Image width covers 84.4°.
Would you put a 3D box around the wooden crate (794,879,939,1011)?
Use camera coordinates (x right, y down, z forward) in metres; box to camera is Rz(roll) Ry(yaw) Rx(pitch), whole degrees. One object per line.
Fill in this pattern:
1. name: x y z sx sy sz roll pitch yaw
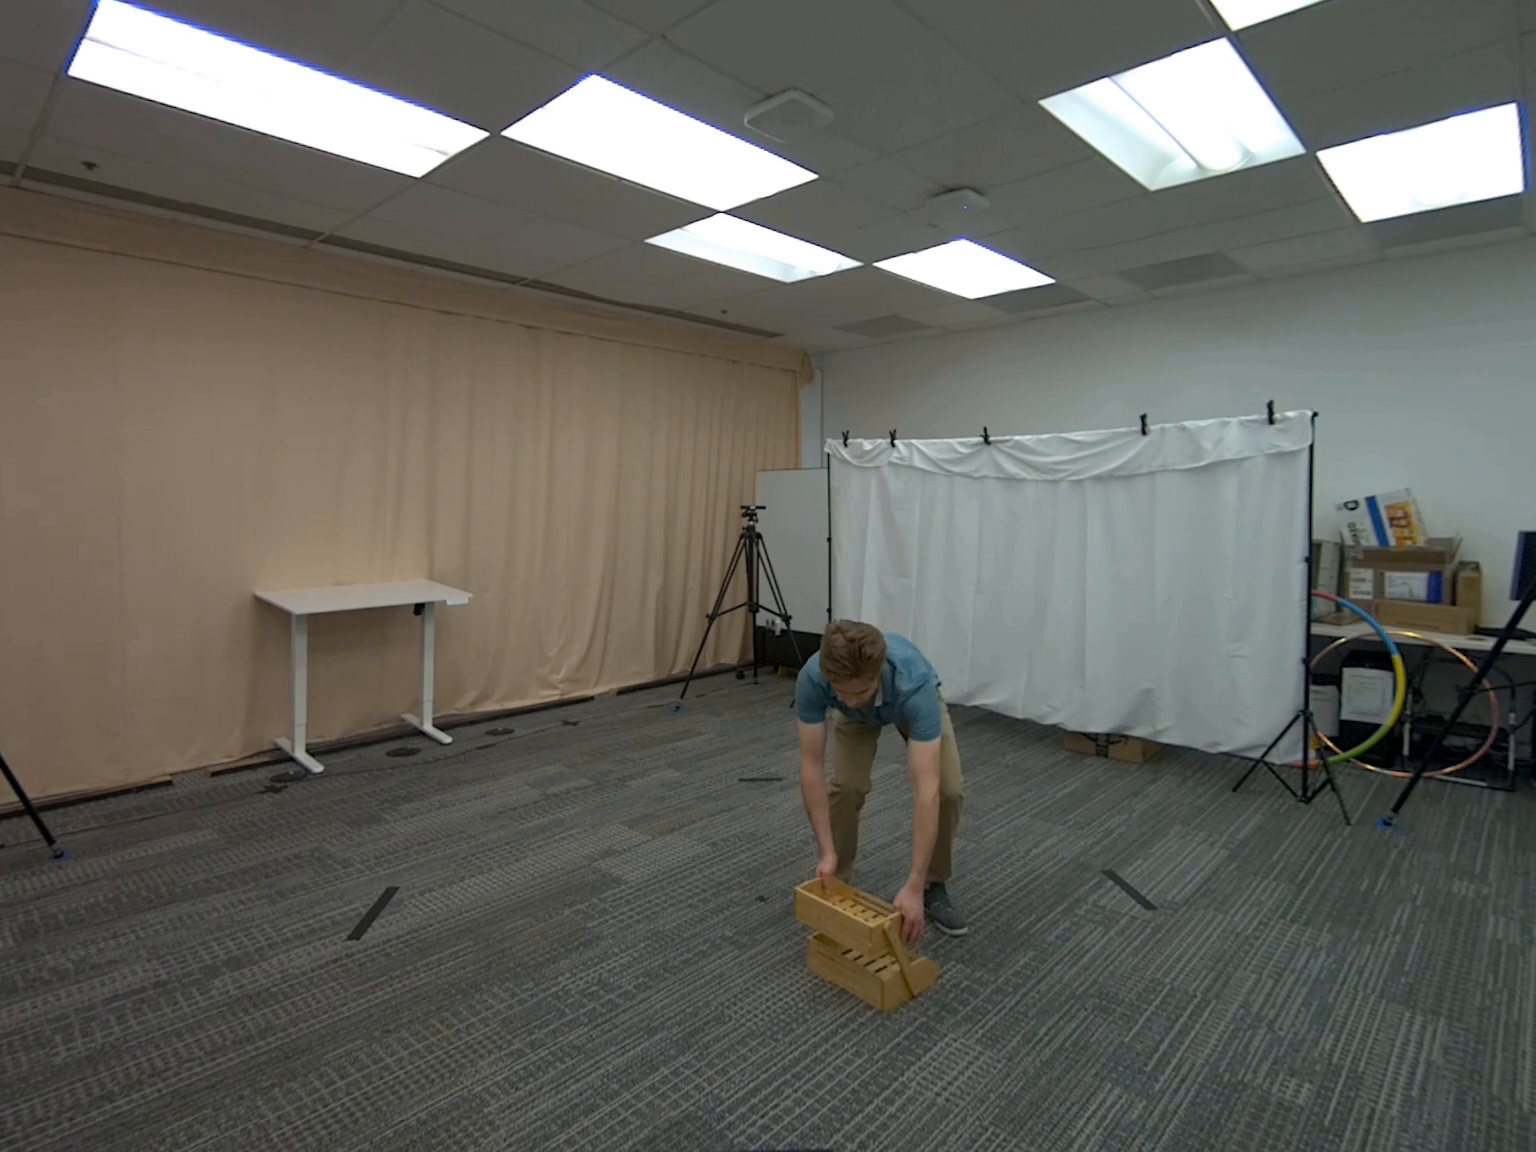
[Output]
1. wooden crate: 0.295 1.052 2.480 0.293 0.273 0.335 -4 5 -42
